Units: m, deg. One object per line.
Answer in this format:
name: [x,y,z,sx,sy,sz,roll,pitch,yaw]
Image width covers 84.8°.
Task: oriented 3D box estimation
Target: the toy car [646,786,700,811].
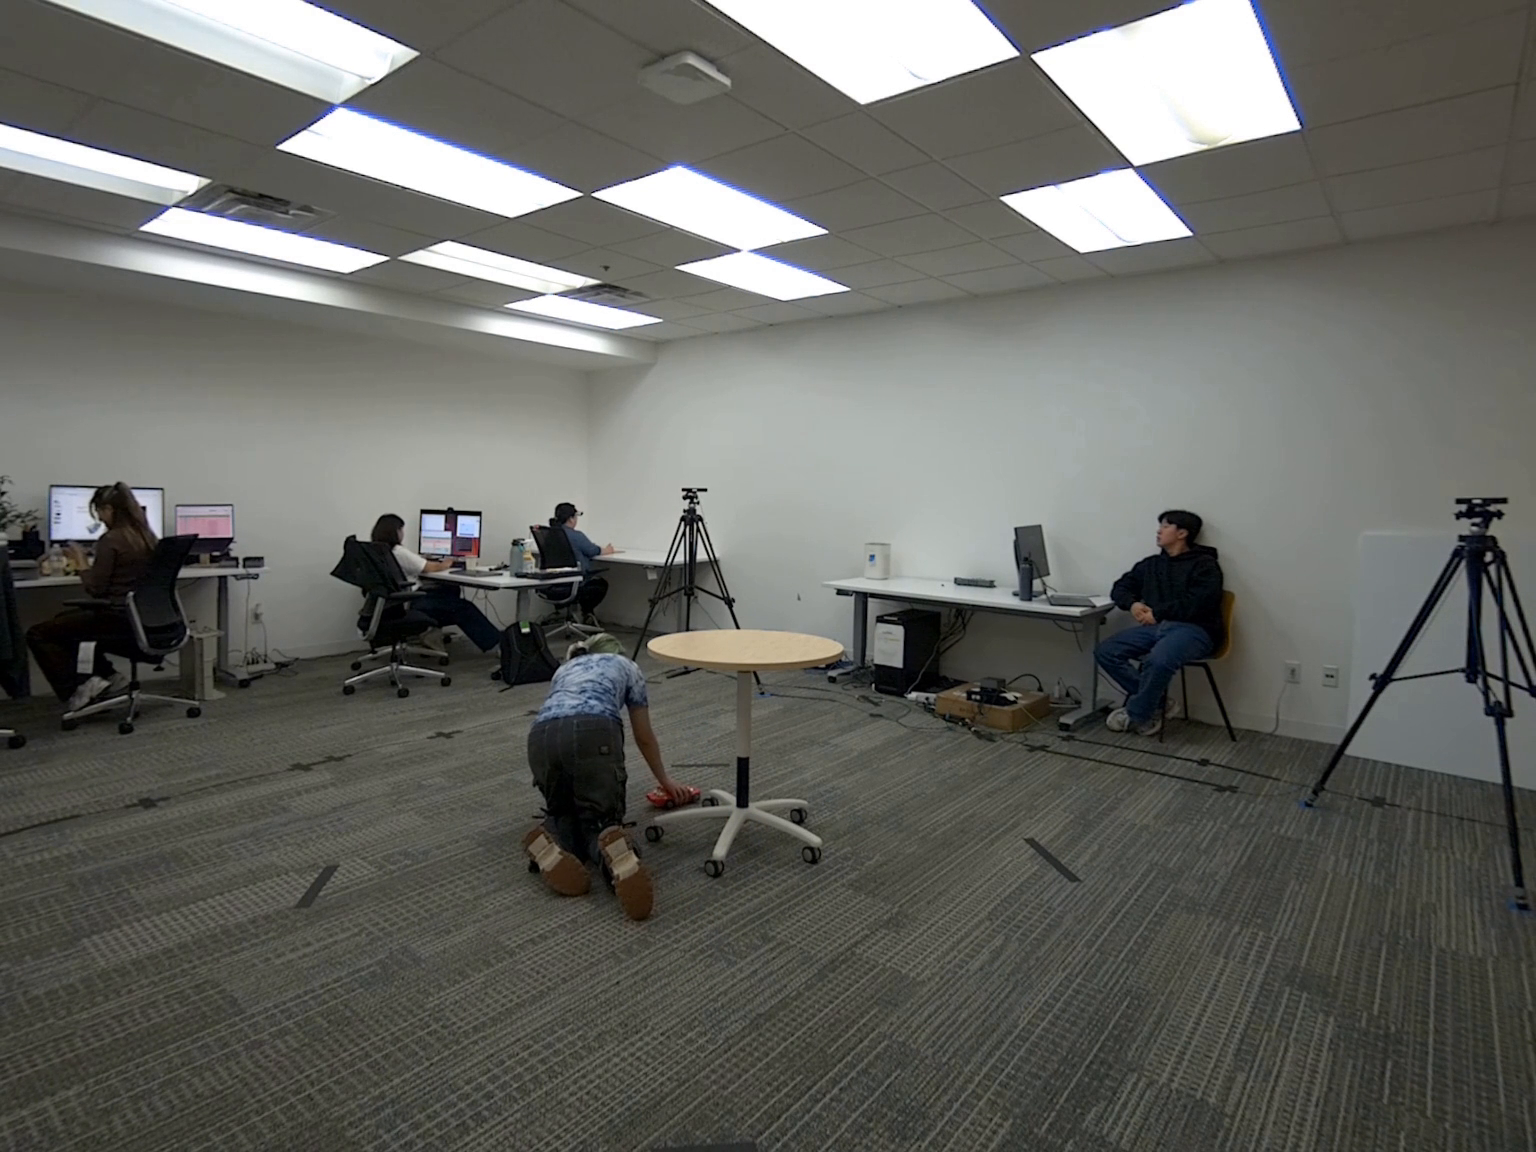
toy car: [-0.440,0.979,3.769,0.246,0.083,0.135,10,-1,-36]
